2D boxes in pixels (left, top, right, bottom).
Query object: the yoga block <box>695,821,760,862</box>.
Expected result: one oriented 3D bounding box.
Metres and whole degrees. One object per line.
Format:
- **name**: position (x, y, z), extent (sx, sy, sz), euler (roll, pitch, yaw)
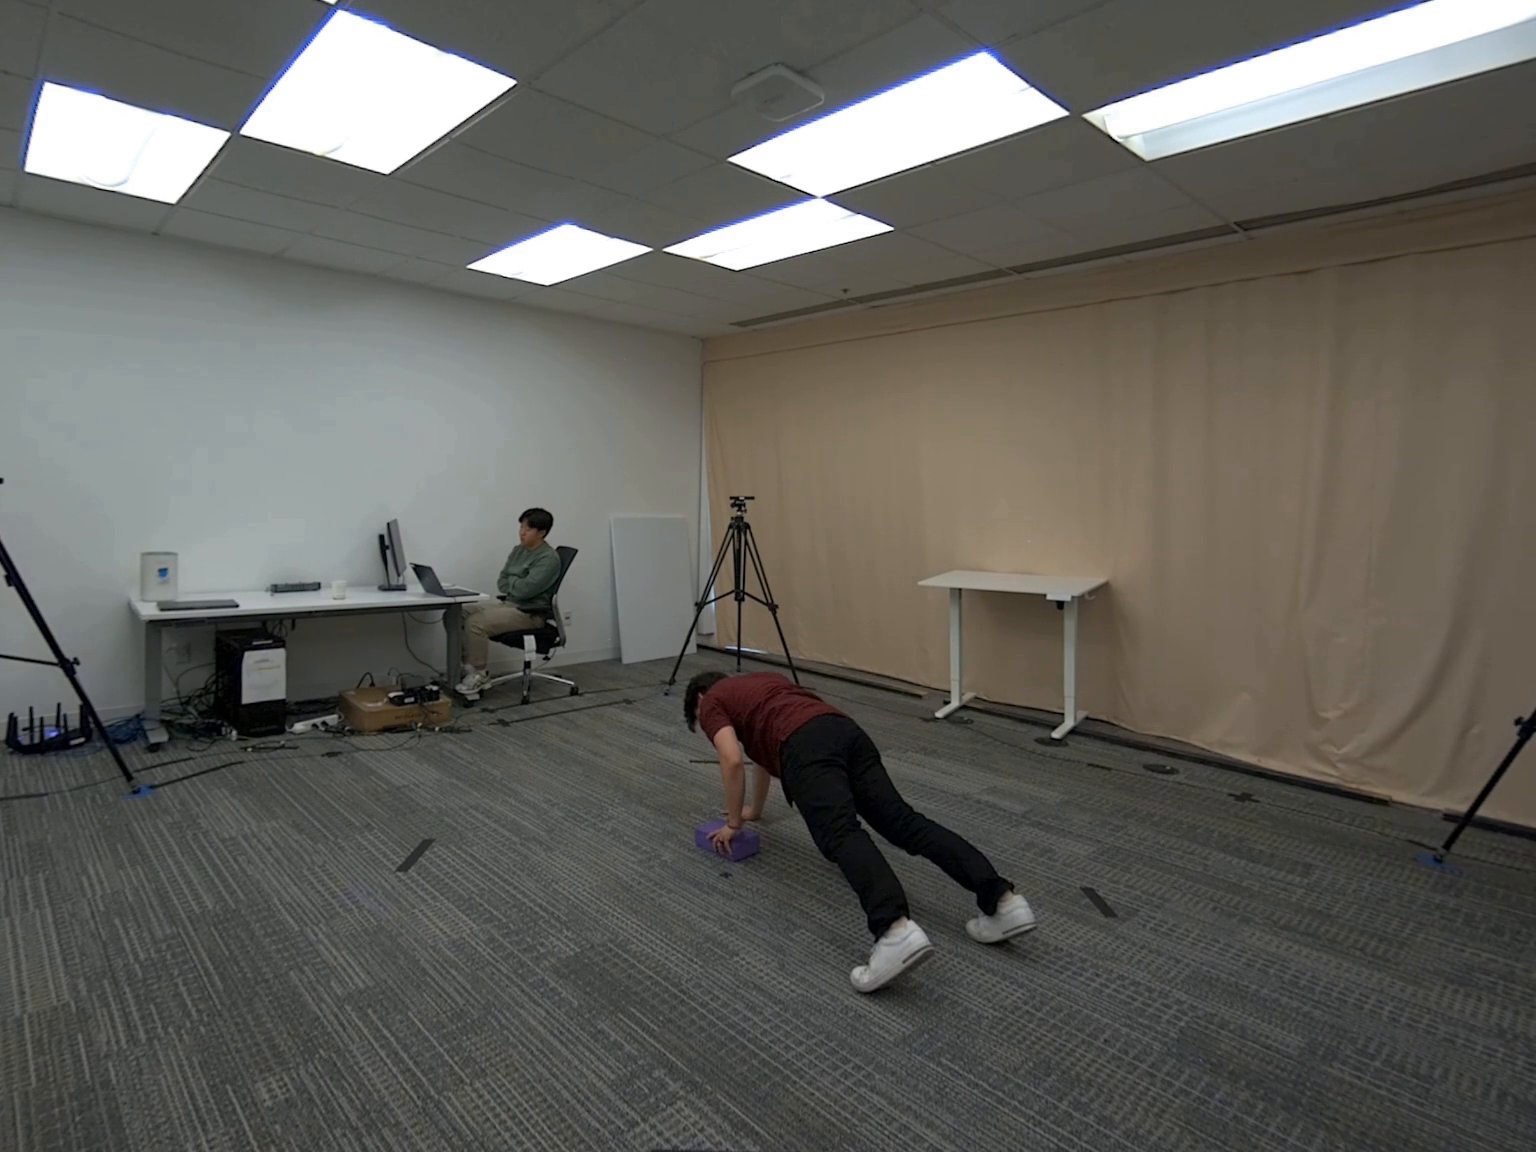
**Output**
- **yoga block**: position (-0.169, 1.037, 3.331), extent (0.146, 0.076, 0.235), euler (-5, 9, -44)
